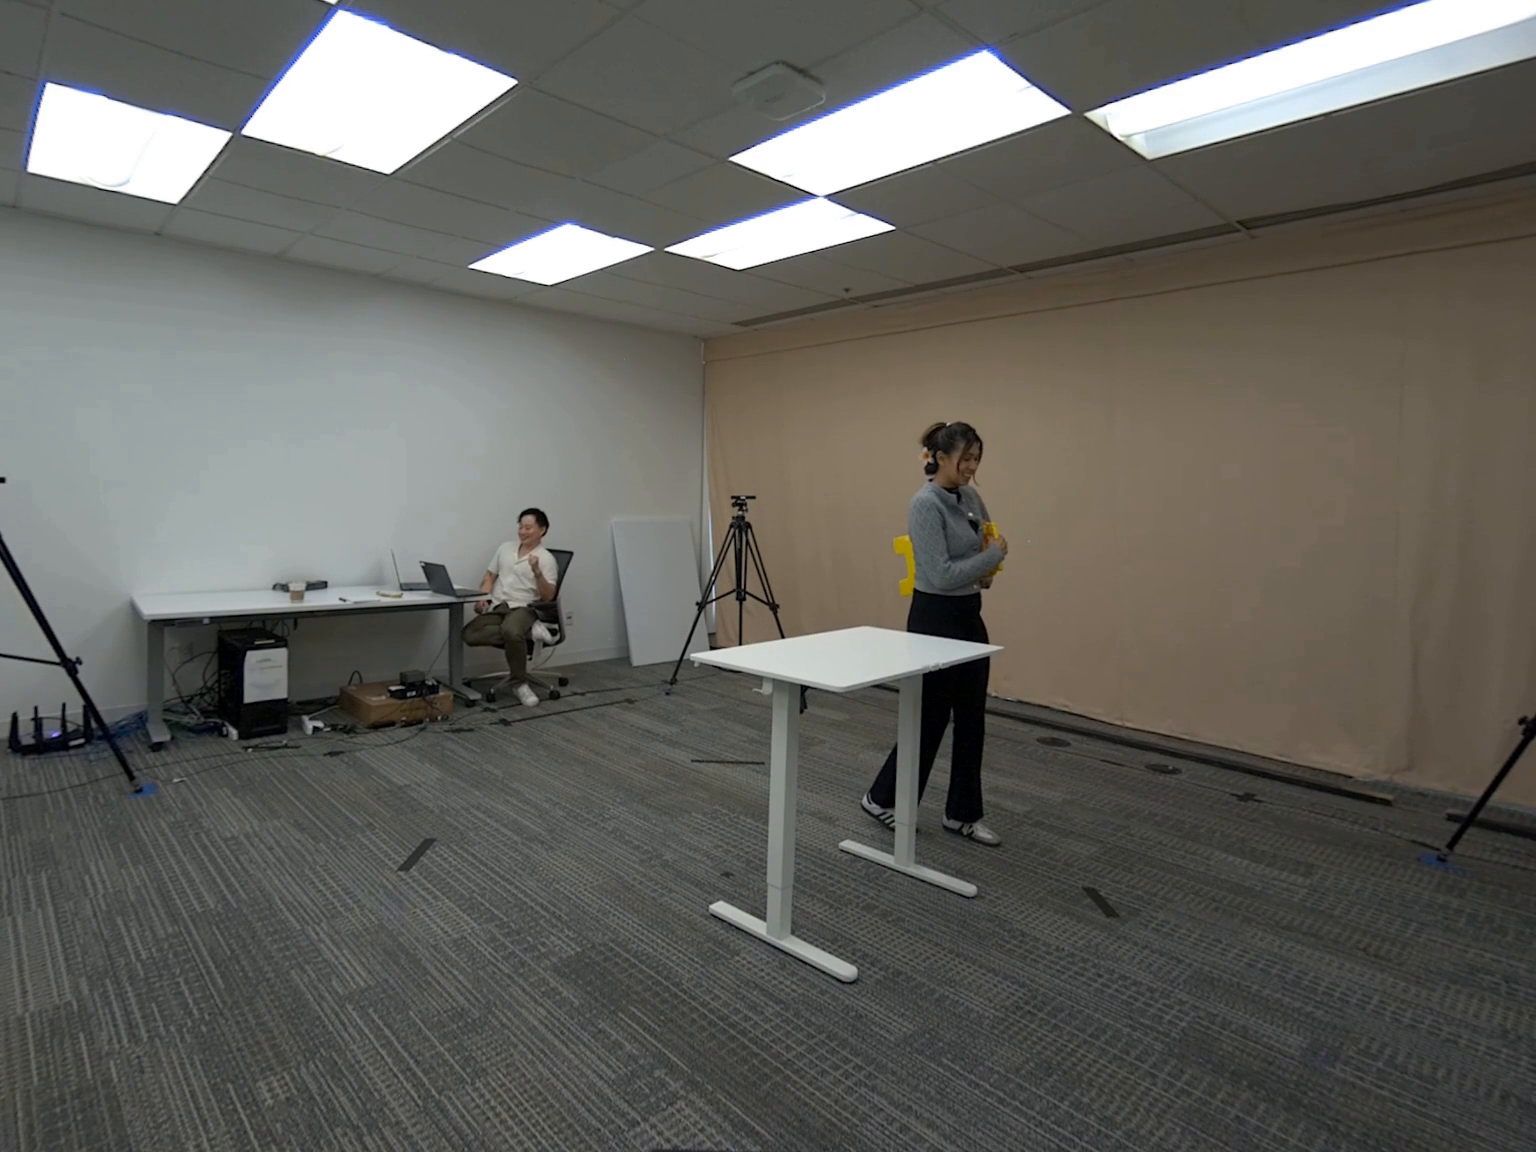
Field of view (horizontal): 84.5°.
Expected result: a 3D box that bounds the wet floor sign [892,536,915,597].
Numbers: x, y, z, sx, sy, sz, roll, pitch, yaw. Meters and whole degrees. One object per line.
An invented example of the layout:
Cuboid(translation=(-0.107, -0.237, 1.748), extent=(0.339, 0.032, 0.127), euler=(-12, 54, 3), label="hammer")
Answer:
Cuboid(translation=(0.834, -0.085, 3.738), extent=(0.286, 0.284, 0.651), euler=(-4, -5, -18), label="wet floor sign")
